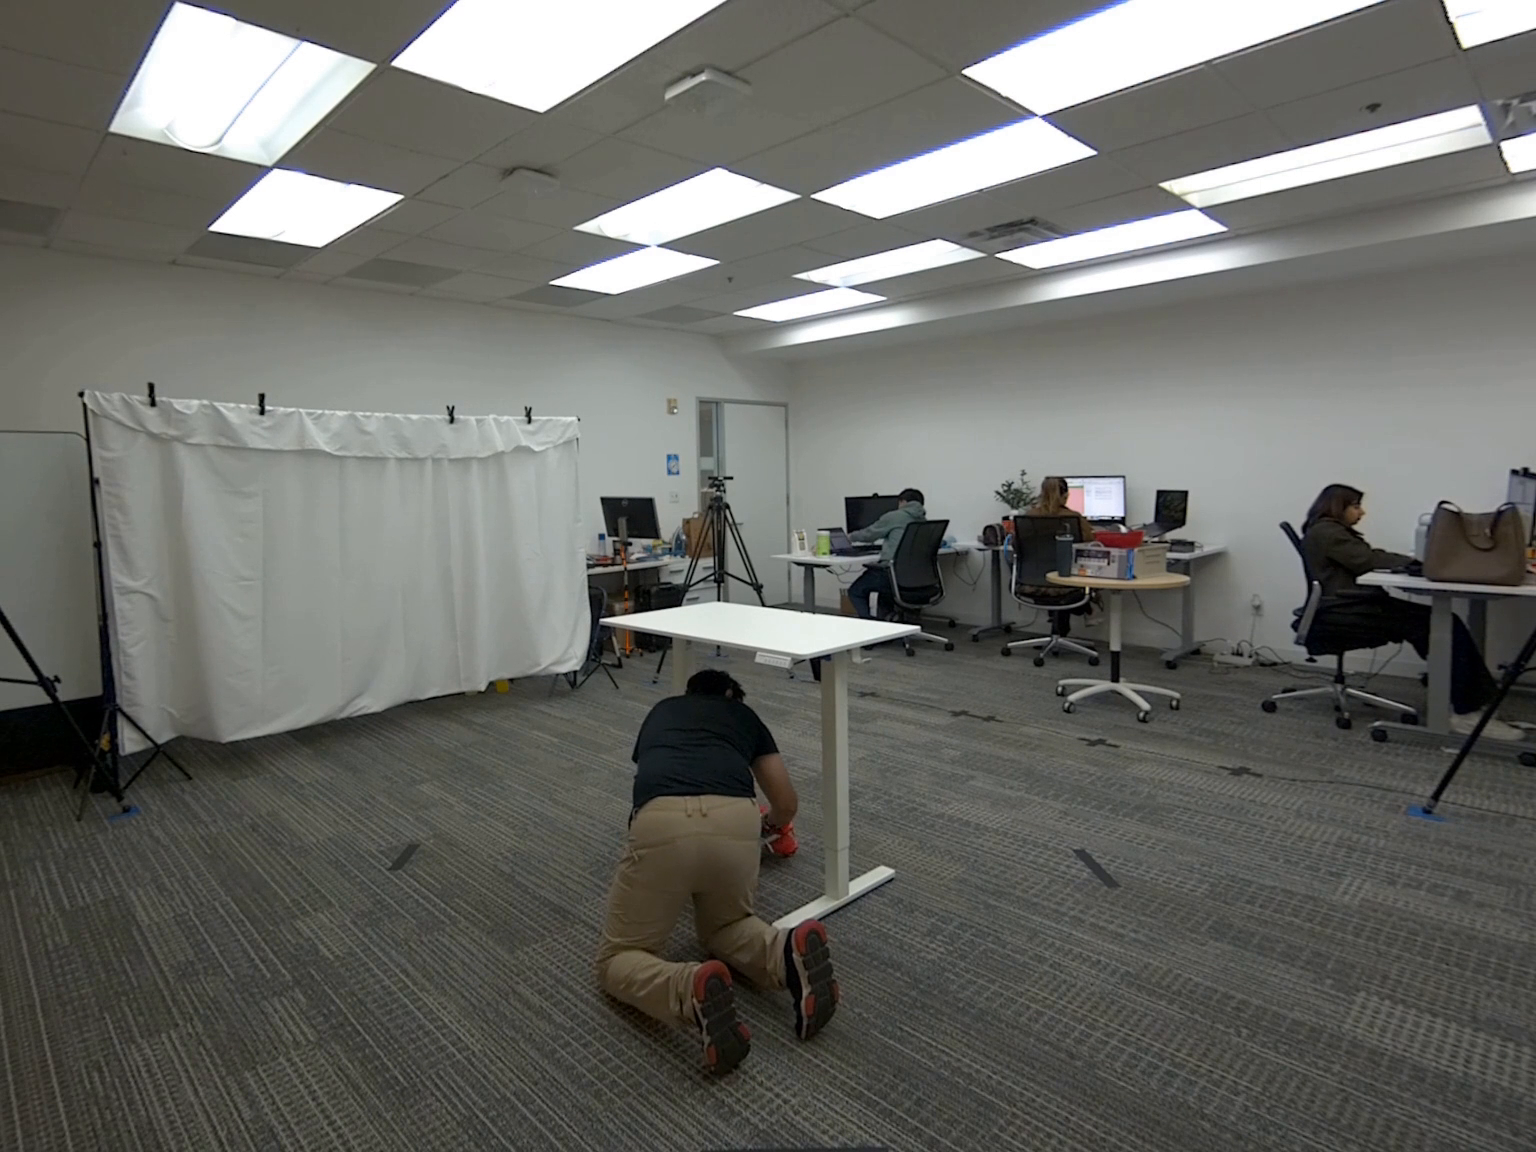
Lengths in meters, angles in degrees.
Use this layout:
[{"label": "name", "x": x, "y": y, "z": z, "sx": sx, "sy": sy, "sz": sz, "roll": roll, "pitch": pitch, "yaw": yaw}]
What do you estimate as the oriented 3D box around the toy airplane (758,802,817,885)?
[{"label": "toy airplane", "x": 0.003, "y": 0.964, "z": 3.120, "sx": 0.258, "sy": 0.156, "sz": 0.253, "roll": 3, "pitch": 5, "yaw": 32}]
